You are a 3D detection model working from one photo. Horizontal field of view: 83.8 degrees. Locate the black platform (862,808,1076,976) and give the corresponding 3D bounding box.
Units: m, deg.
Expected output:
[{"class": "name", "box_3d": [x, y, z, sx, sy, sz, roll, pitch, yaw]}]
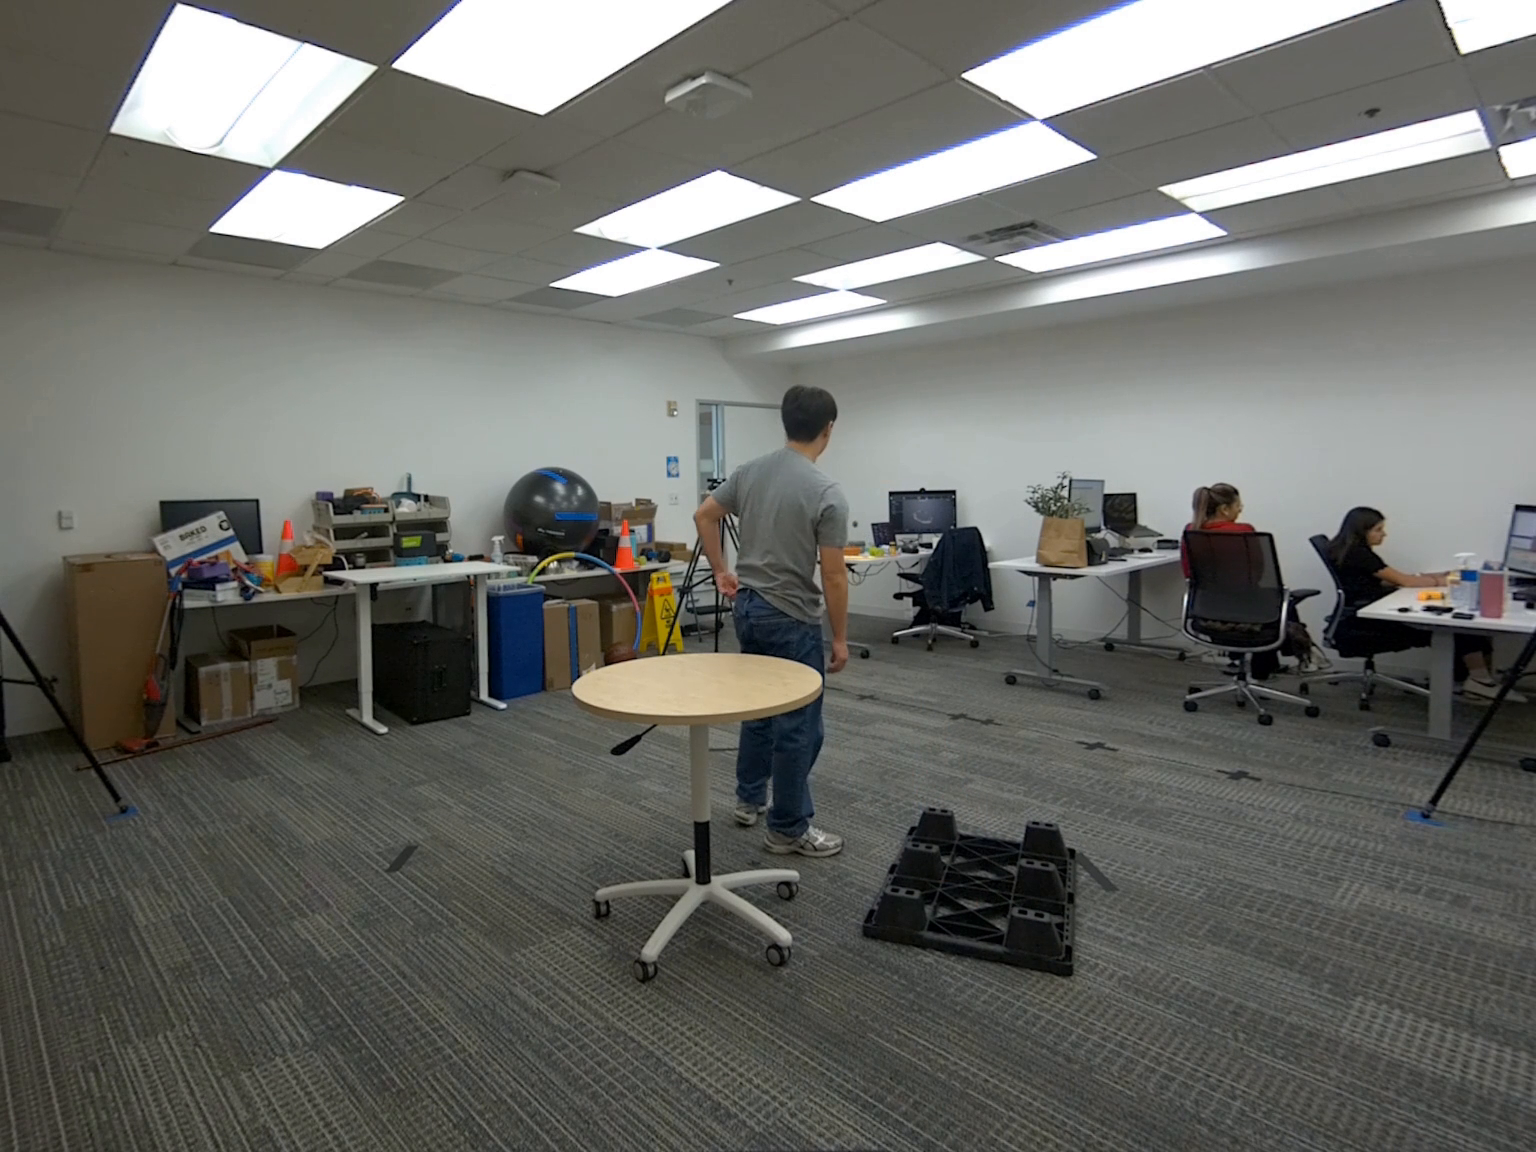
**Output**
[{"class": "black platform", "box_3d": [0.703, 0.998, 2.846, 0.618, 0.142, 0.793, 2, 7, 21]}]
